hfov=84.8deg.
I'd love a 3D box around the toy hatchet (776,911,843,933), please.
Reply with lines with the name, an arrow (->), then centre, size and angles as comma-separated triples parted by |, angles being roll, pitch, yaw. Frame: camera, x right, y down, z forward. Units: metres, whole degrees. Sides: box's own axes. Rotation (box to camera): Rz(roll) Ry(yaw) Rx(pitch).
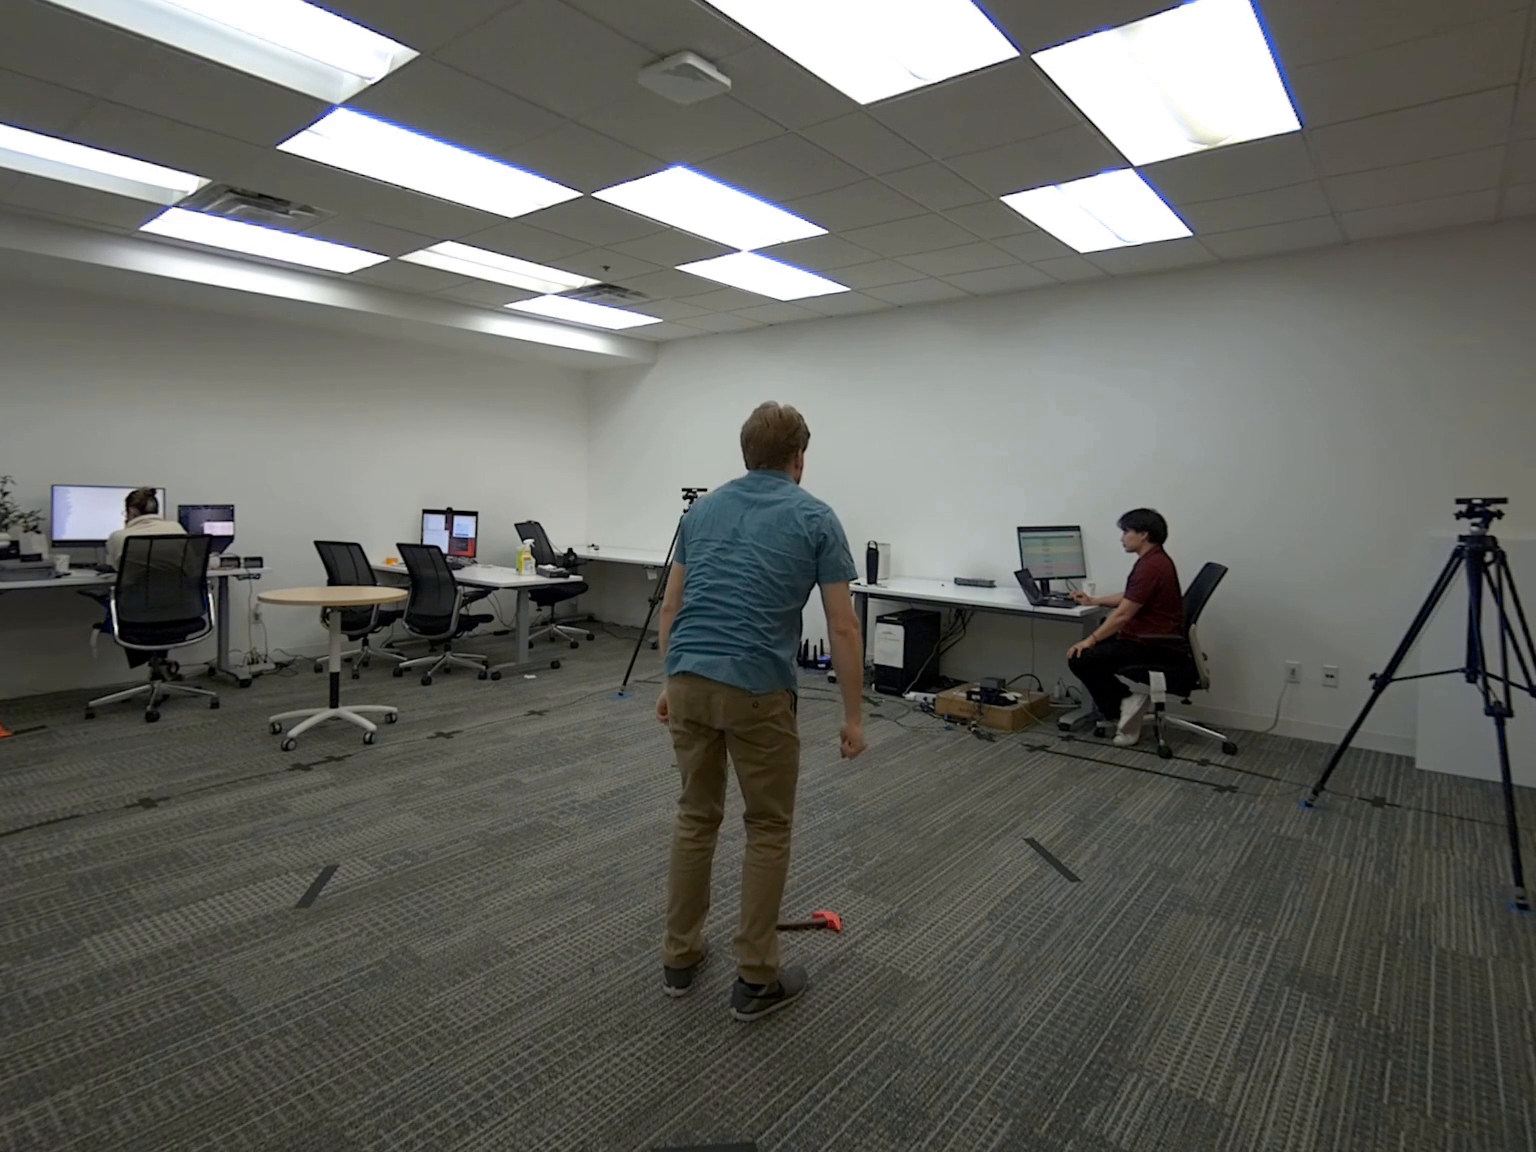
toy hatchet -> 0.091, 1.099, 2.736 | 0.272, 0.029, 0.131 | 0, 5, 5
